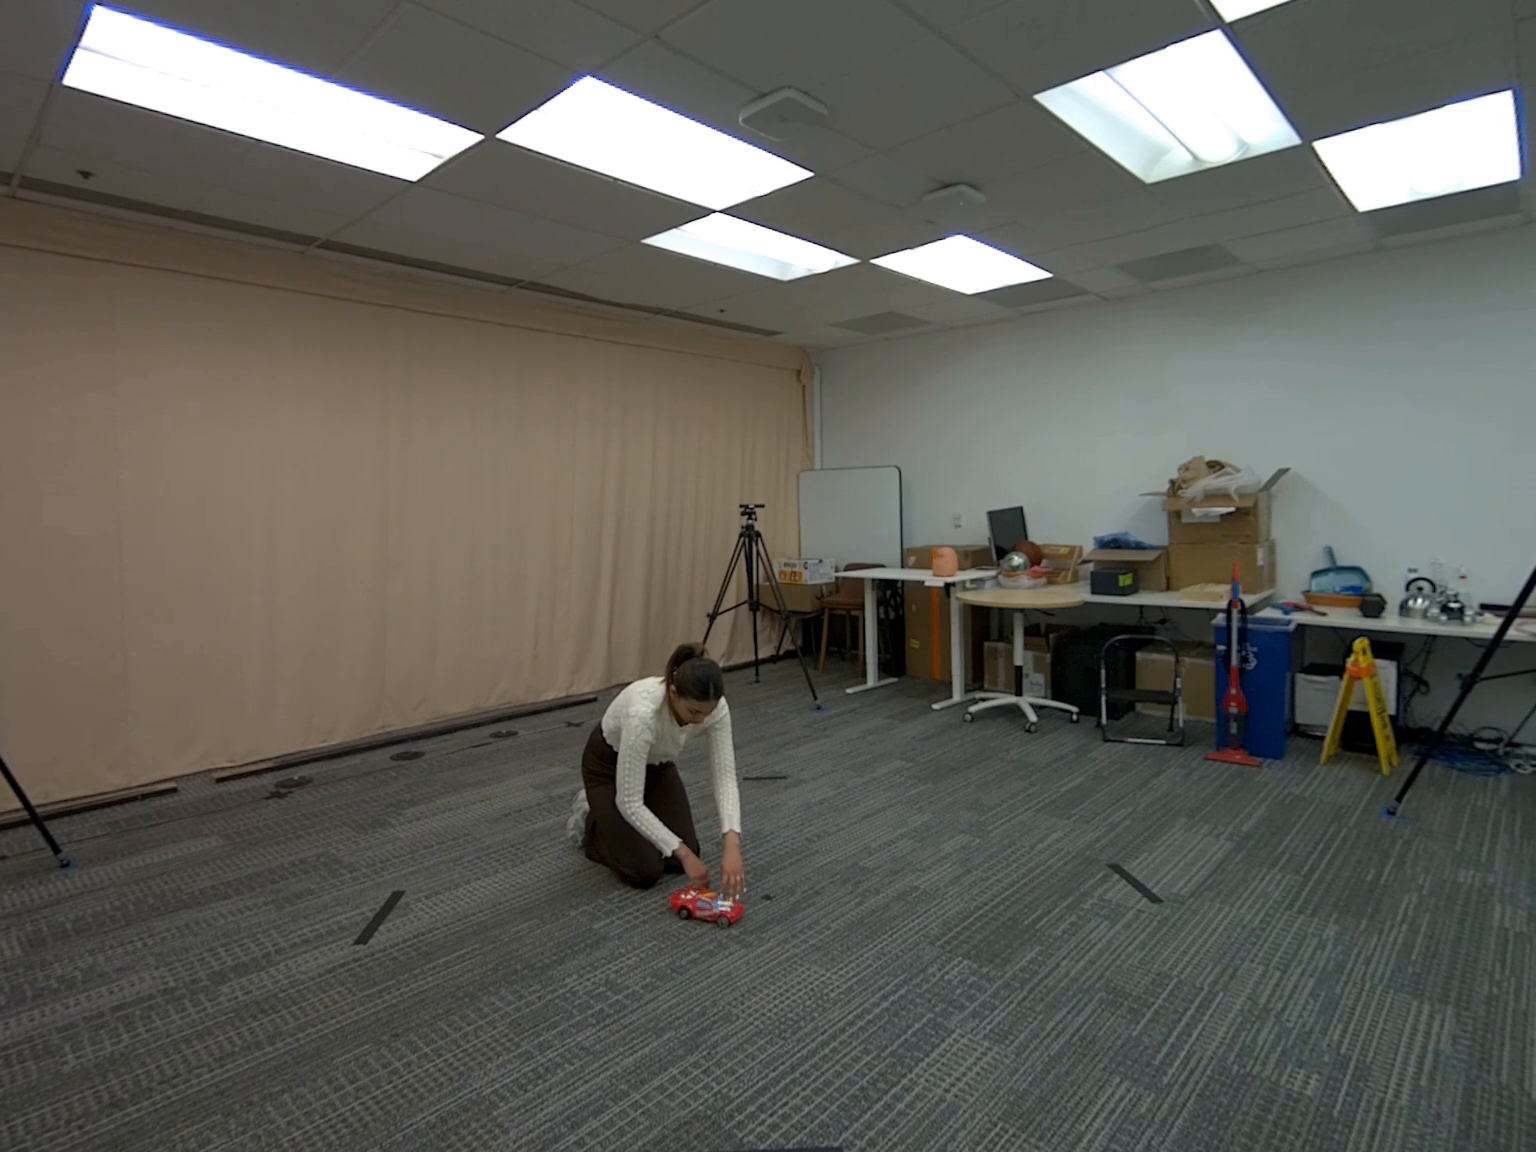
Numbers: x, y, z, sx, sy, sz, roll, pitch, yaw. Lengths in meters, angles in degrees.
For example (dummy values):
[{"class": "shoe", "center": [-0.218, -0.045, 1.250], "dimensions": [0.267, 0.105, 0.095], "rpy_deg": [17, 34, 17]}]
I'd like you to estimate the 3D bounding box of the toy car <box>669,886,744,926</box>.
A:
[{"class": "toy car", "center": [-0.211, 1.123, 2.857], "dimensions": [0.261, 0.083, 0.127], "rpy_deg": [12, 10, 24]}]
